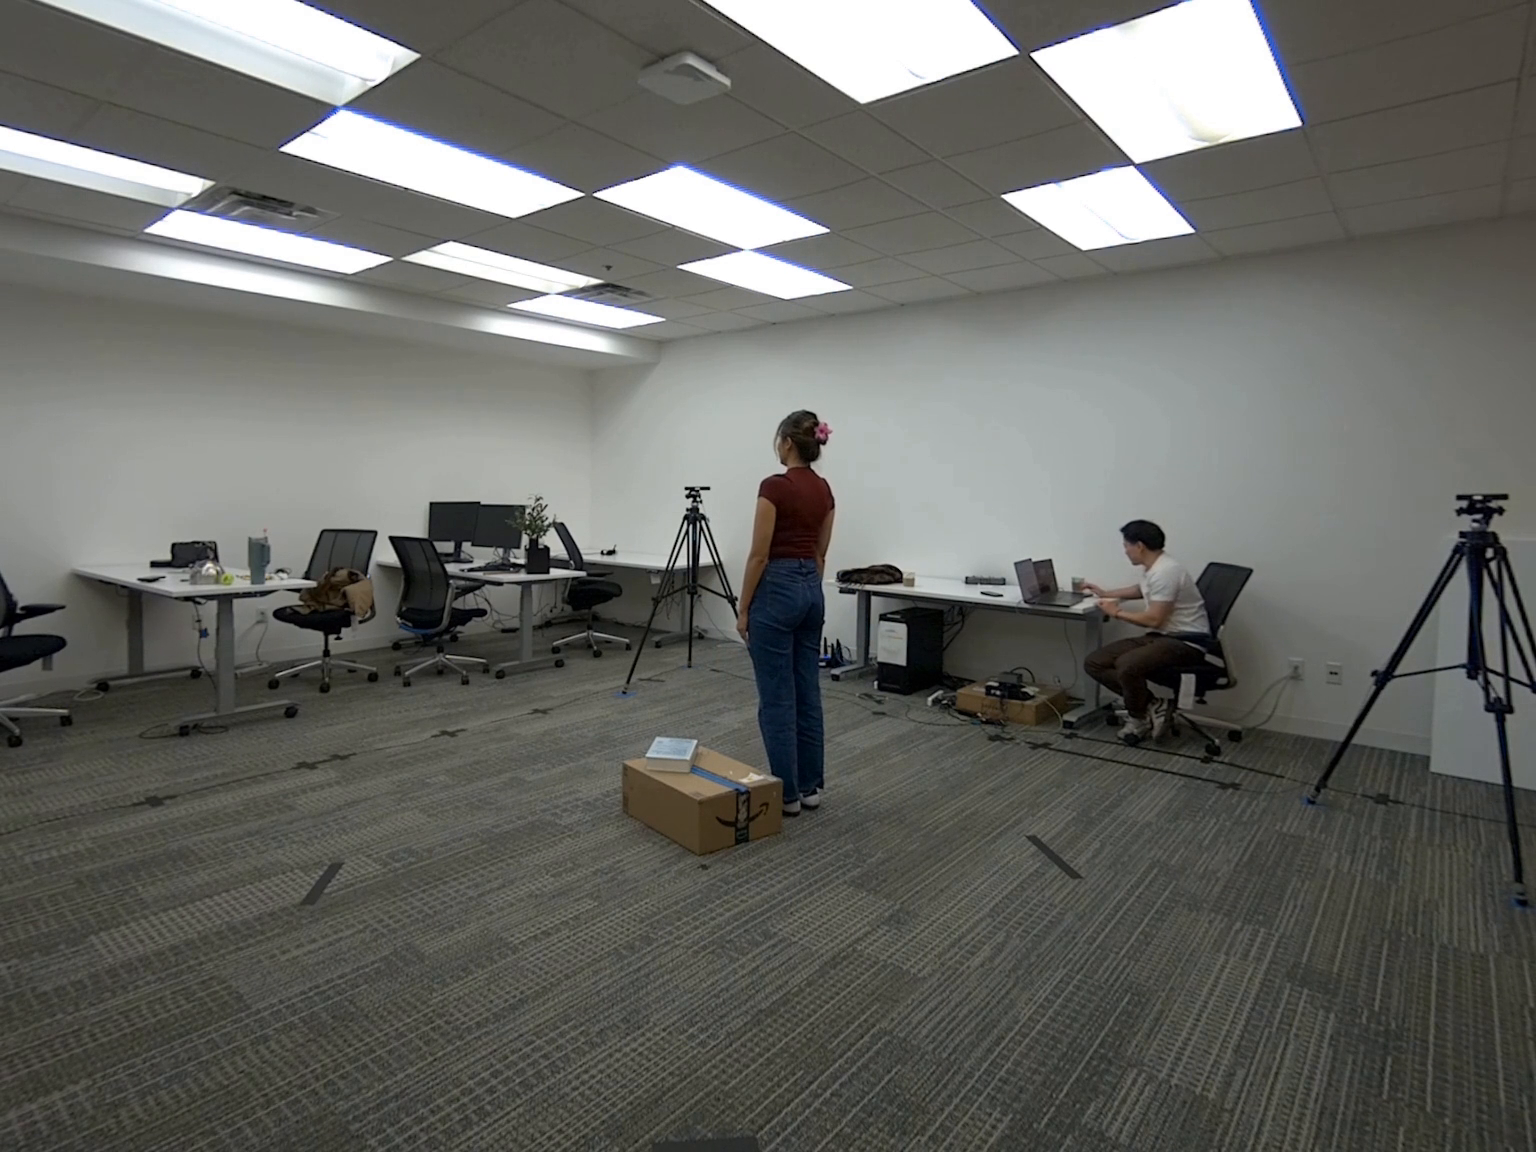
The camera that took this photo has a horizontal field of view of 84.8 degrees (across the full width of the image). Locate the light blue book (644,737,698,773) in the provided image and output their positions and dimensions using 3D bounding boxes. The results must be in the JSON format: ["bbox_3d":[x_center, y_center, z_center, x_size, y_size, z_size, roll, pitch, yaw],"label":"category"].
[{"bbox_3d":[-0.427,0.765,3.670,0.192,0.059,0.261,2,7,4],"label":"light blue book"}]
